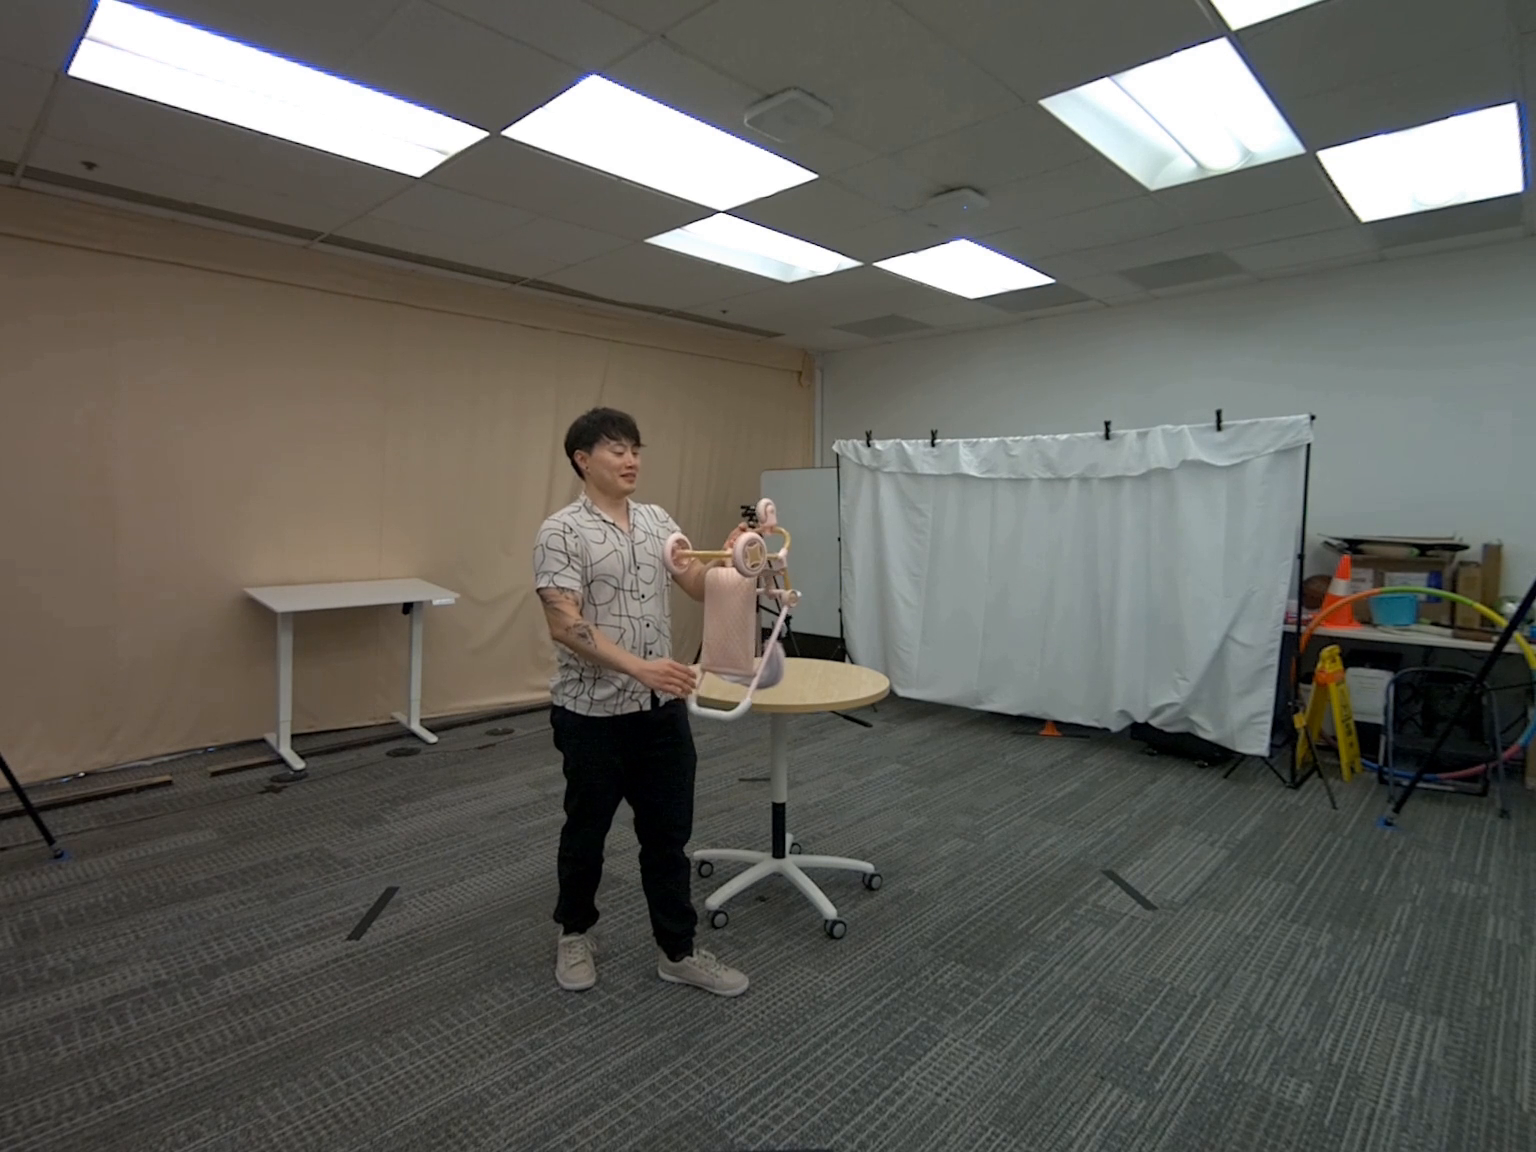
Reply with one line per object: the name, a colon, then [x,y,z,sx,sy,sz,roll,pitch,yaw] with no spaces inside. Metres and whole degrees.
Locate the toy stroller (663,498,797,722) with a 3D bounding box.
toy stroller: [-0.061,0.075,2.216,0.290,0.533,0.332,-3,6,36]
